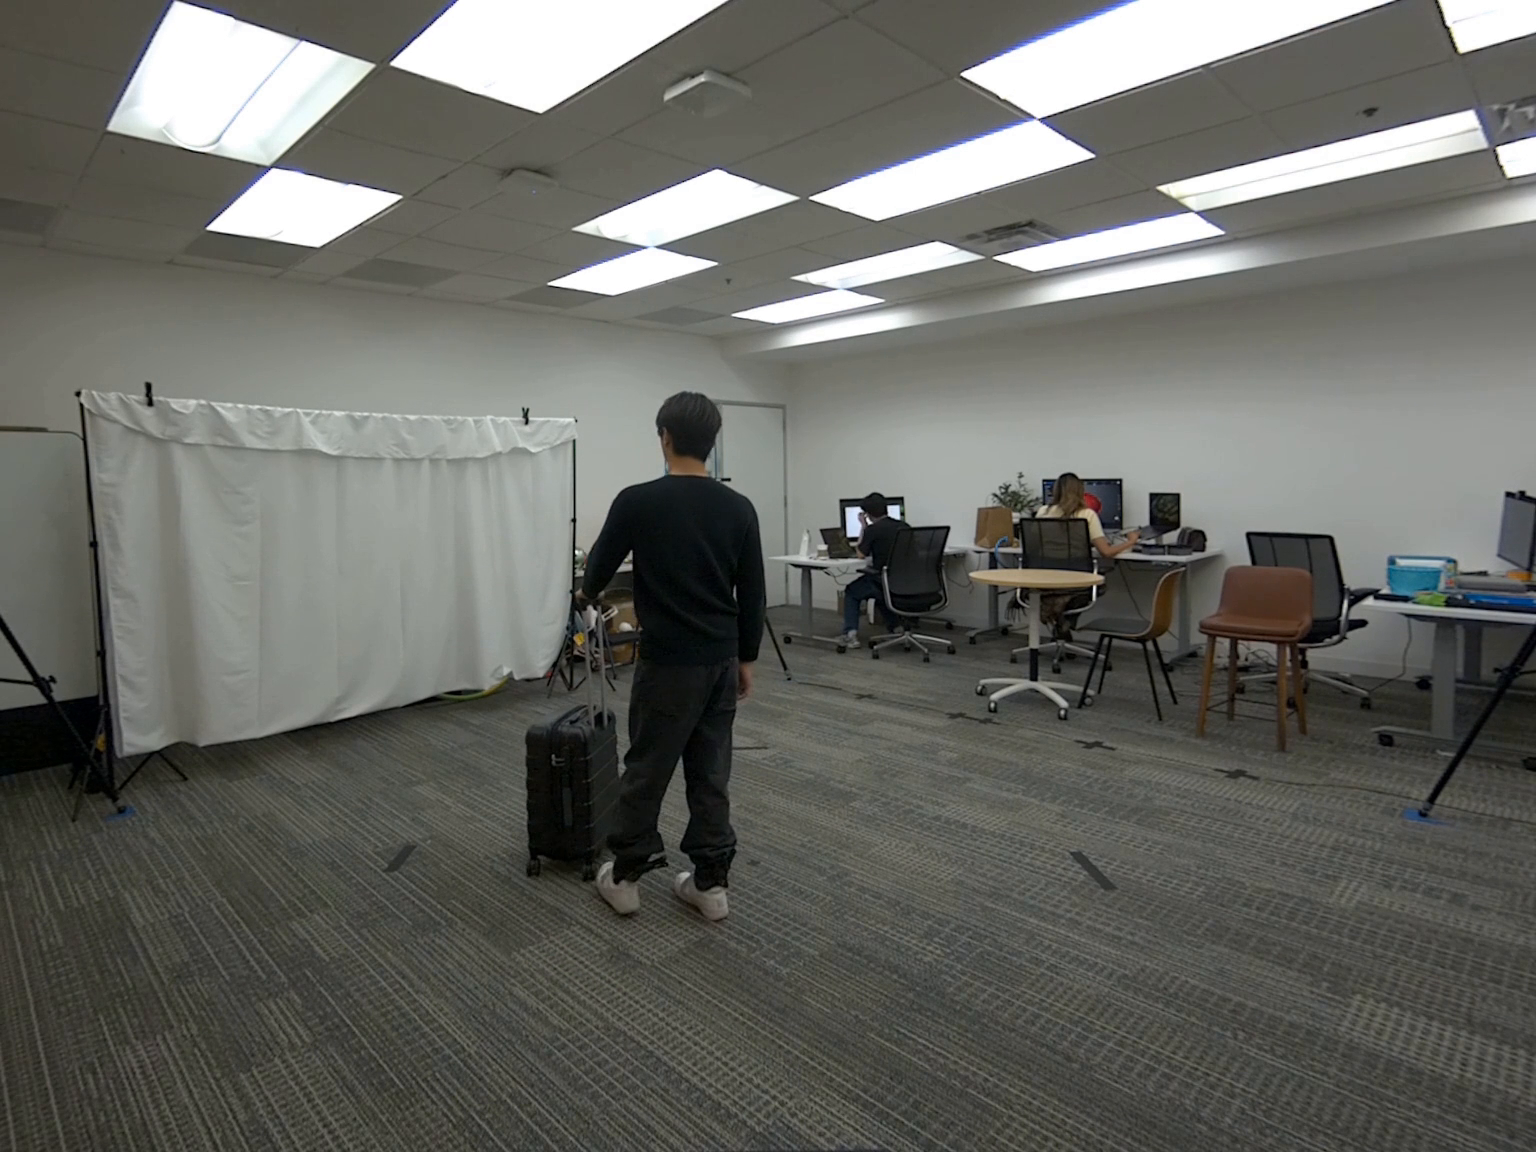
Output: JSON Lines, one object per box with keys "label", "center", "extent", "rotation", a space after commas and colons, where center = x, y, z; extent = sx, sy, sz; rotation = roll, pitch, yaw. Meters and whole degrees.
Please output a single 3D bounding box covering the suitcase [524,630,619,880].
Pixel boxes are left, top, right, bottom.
{"label": "suitcase", "center": [-0.730, 0.572, 3.163], "extent": [0.260, 0.977, 0.380], "rotation": [-3, 2, 11]}
